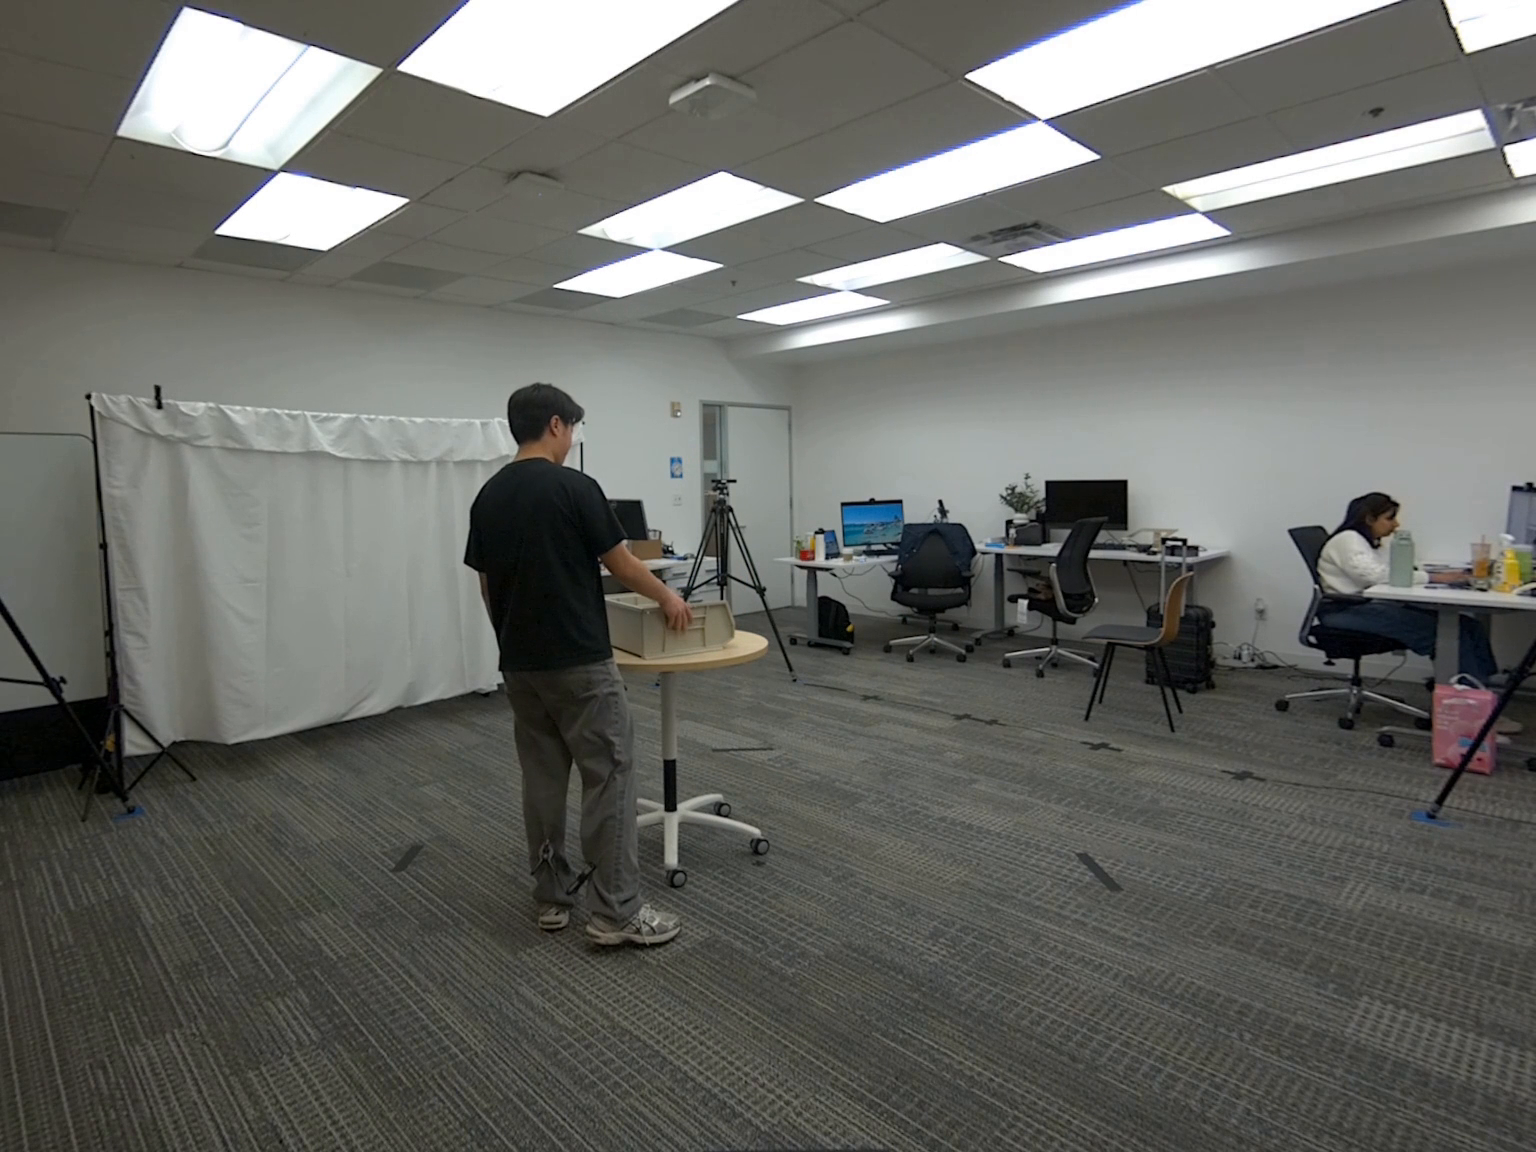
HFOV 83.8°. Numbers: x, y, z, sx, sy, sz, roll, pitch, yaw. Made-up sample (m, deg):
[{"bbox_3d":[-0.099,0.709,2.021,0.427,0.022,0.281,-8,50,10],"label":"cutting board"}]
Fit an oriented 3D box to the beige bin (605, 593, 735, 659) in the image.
[{"bbox_3d":[-0.394,0.170,3.180,0.368,0.188,0.435,-6,8,-33],"label":"beige bin"}]
